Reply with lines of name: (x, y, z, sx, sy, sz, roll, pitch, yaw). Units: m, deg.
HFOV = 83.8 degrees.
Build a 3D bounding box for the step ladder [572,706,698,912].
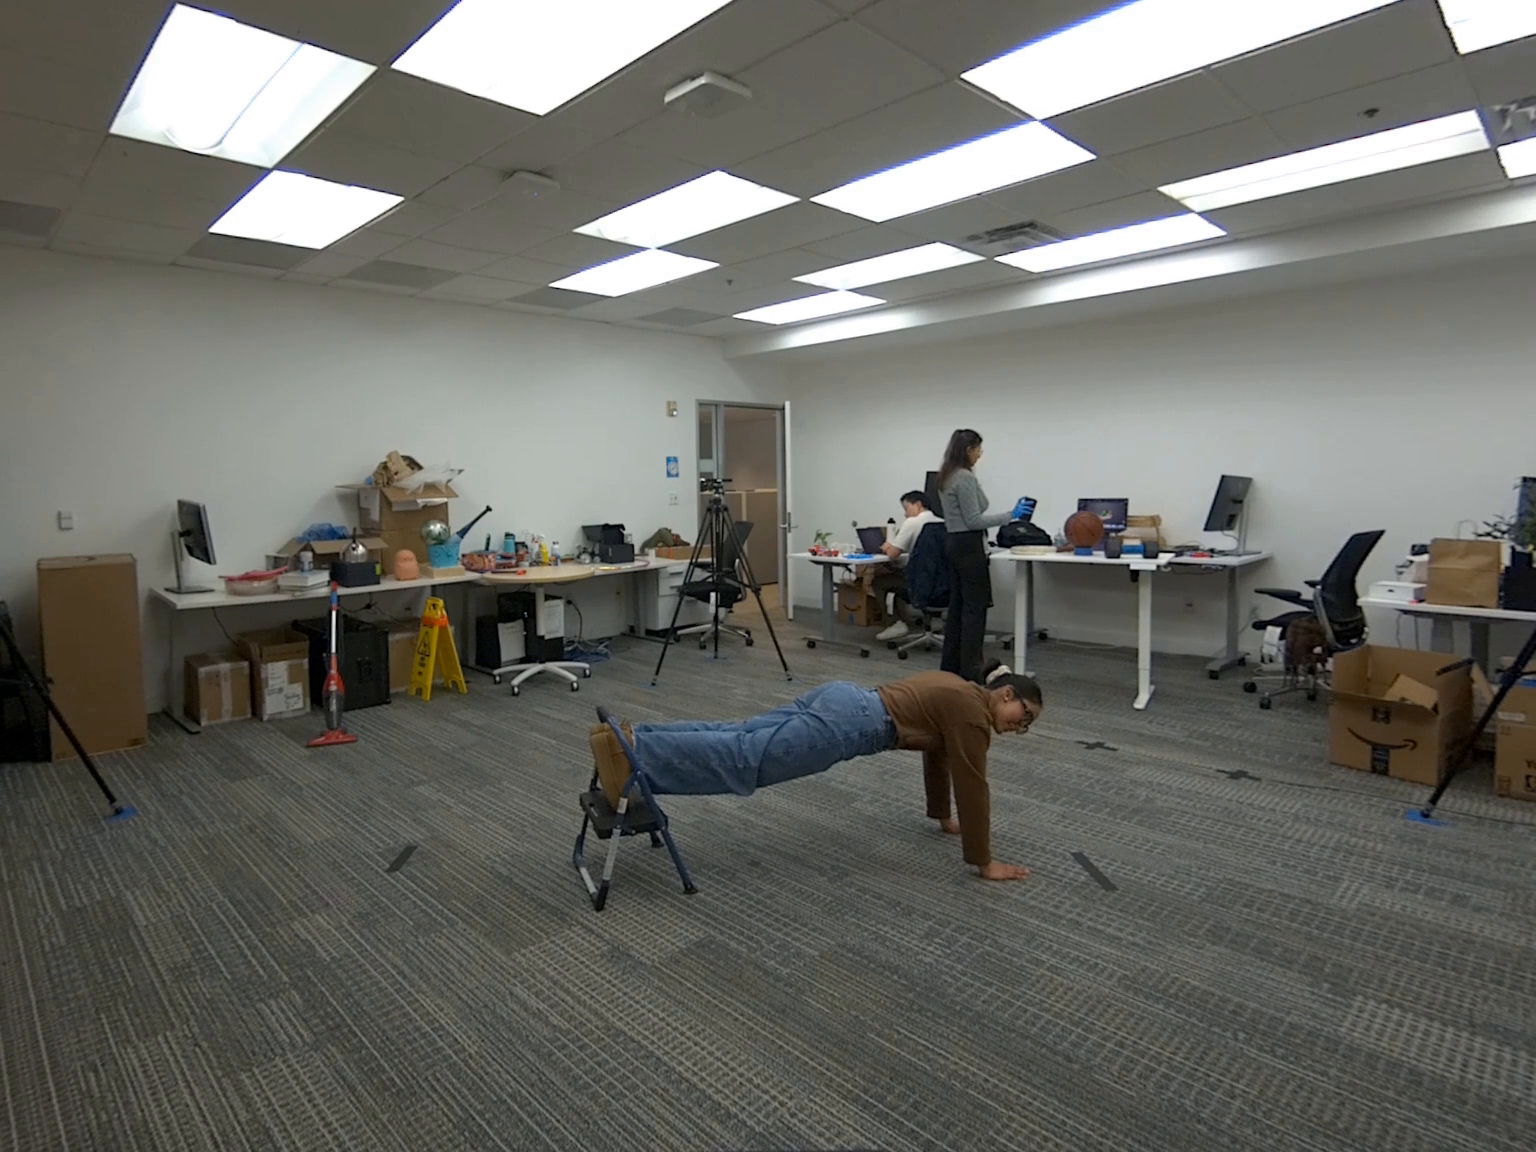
step ladder: (-0.483, 0.762, 3.007, 0.342, 0.604, 0.441, -3, 5, -24)
